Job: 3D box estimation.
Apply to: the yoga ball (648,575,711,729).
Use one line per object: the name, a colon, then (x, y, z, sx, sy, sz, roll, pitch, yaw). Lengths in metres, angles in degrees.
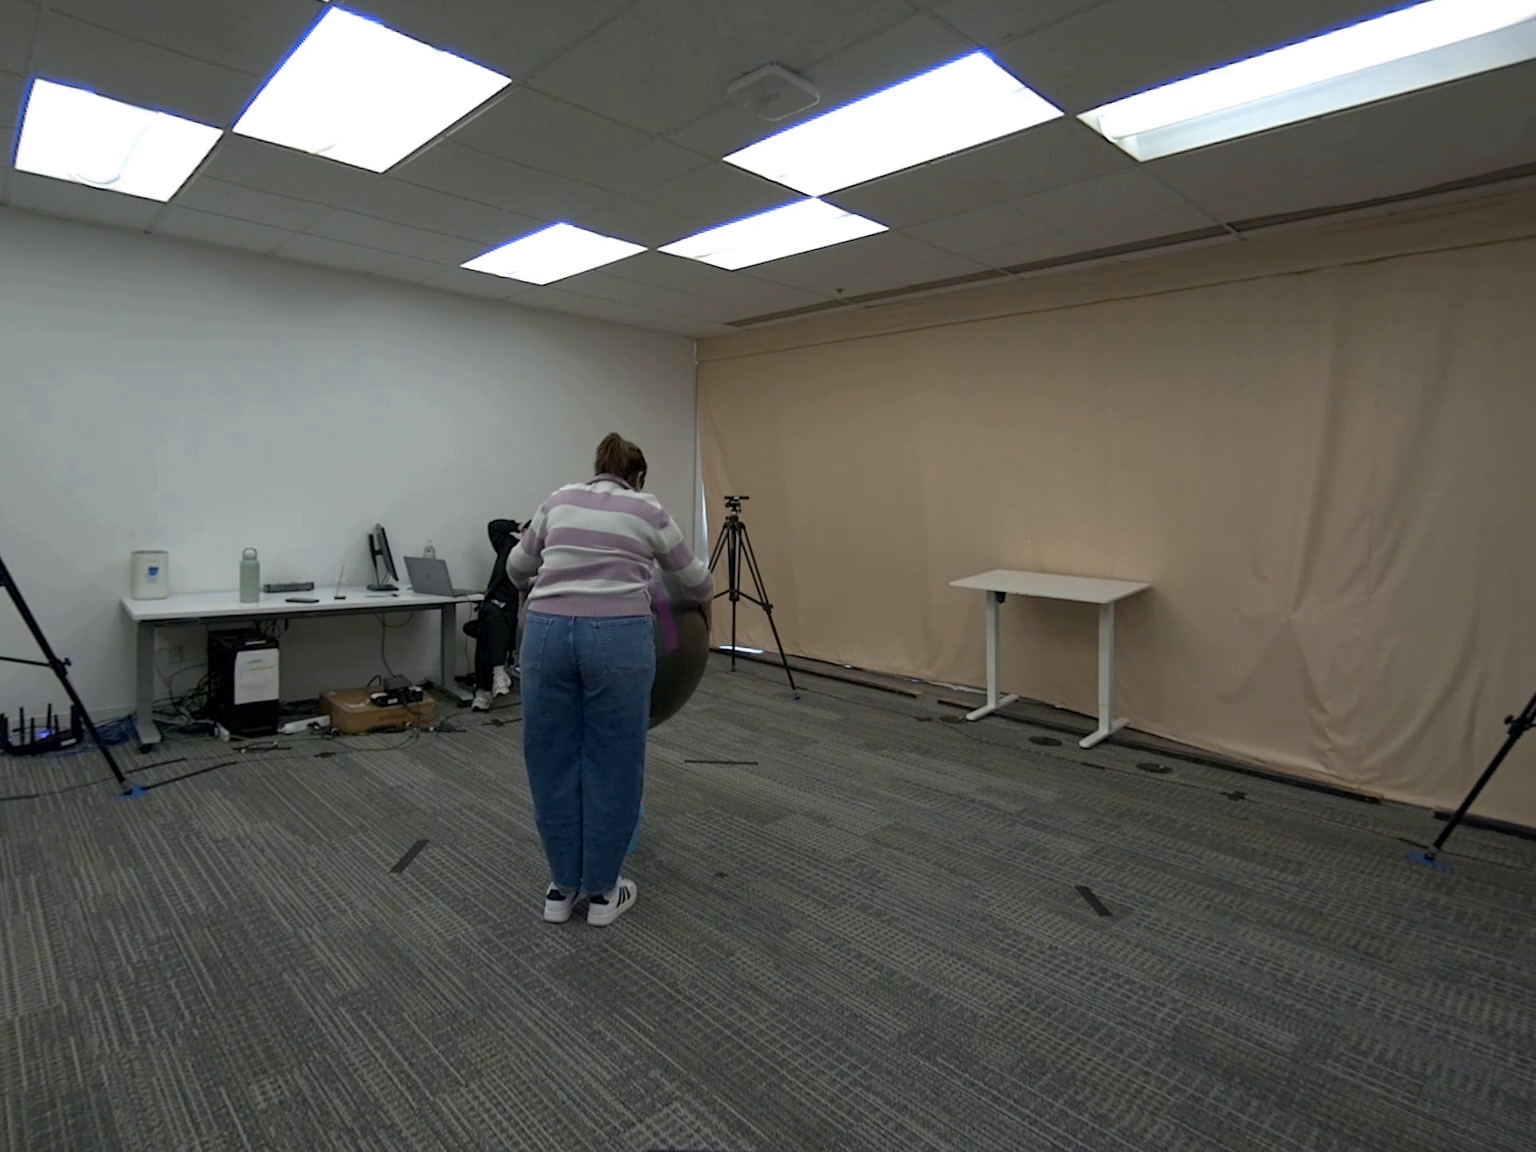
yoga ball: (-0.608, 0.252, 3.323, 0.757, 0.756, 0.761, 1, 4, -1)
